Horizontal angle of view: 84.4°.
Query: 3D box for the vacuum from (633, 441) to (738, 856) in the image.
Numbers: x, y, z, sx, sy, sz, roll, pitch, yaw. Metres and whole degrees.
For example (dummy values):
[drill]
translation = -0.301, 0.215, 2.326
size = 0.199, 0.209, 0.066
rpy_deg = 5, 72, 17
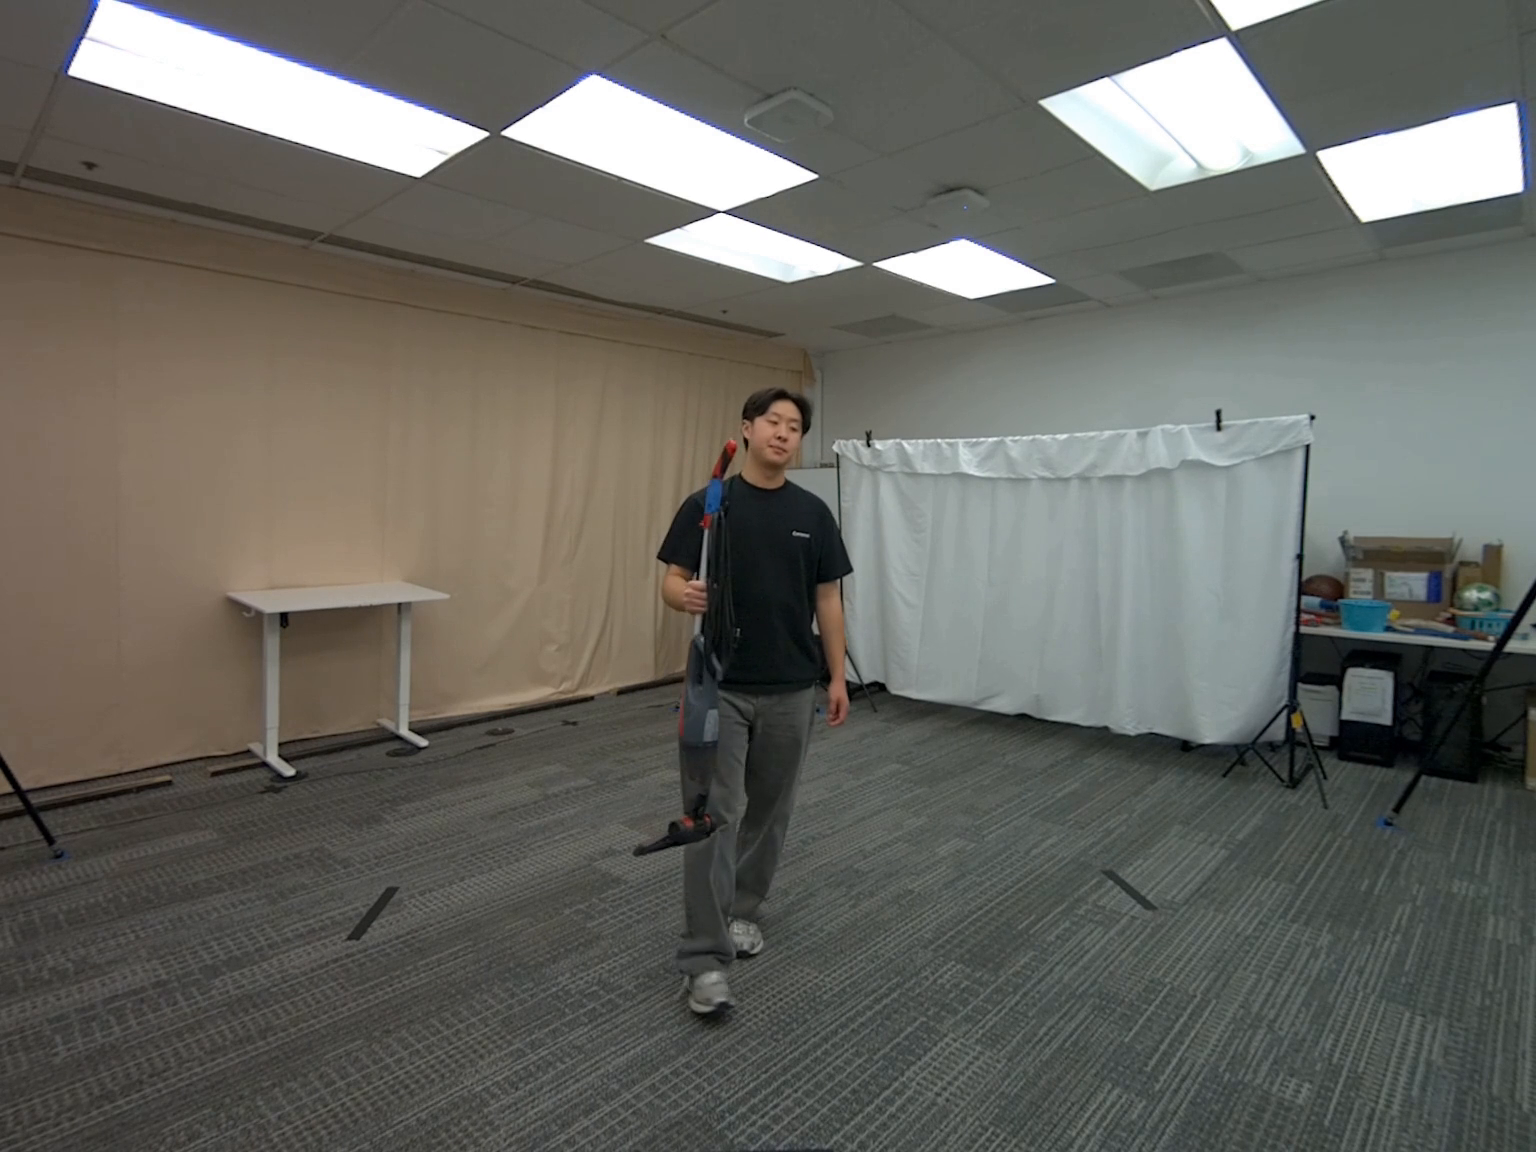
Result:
[vacuum]
translation = -0.147, 0.175, 2.213
size = 0.245, 1.047, 0.148
rpy_deg = 5, 5, -31
